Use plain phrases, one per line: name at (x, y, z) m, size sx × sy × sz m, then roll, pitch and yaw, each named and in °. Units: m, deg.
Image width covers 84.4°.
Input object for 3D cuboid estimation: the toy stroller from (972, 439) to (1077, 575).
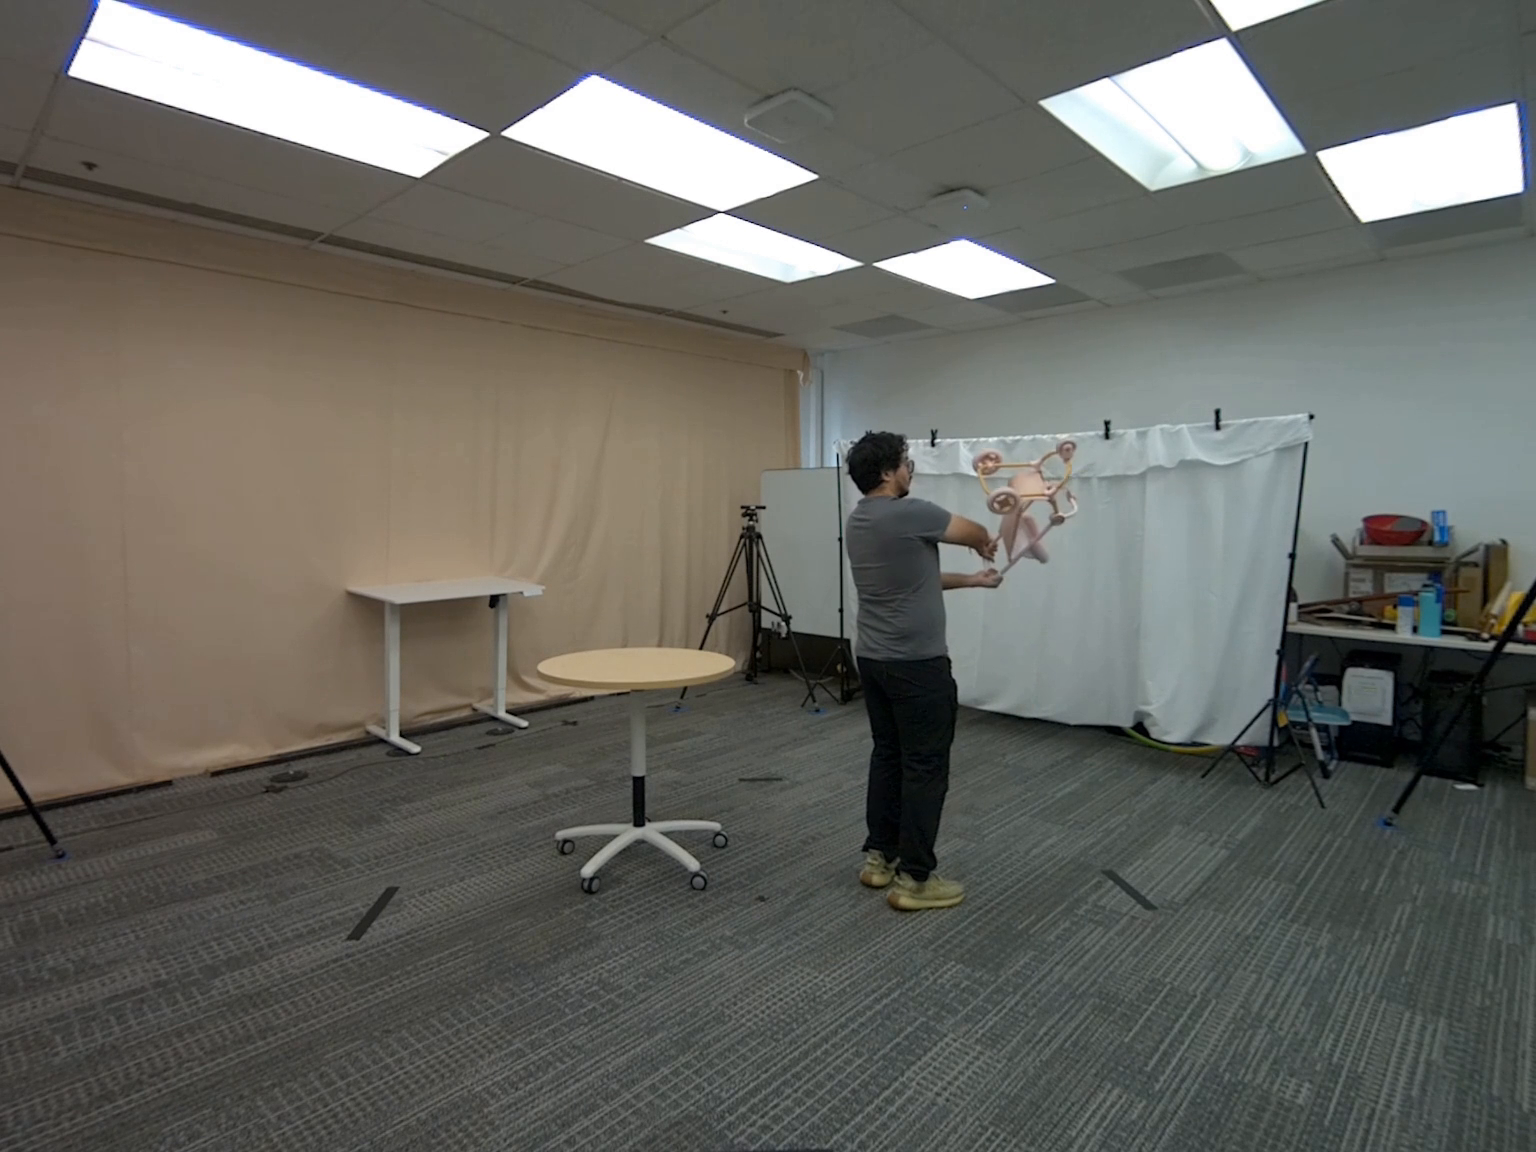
toy stroller at (0.948, -0.241, 3.034) m, size 0.343 × 0.521 × 0.287 m, roll -13°, pitch 37°, yaw 6°
